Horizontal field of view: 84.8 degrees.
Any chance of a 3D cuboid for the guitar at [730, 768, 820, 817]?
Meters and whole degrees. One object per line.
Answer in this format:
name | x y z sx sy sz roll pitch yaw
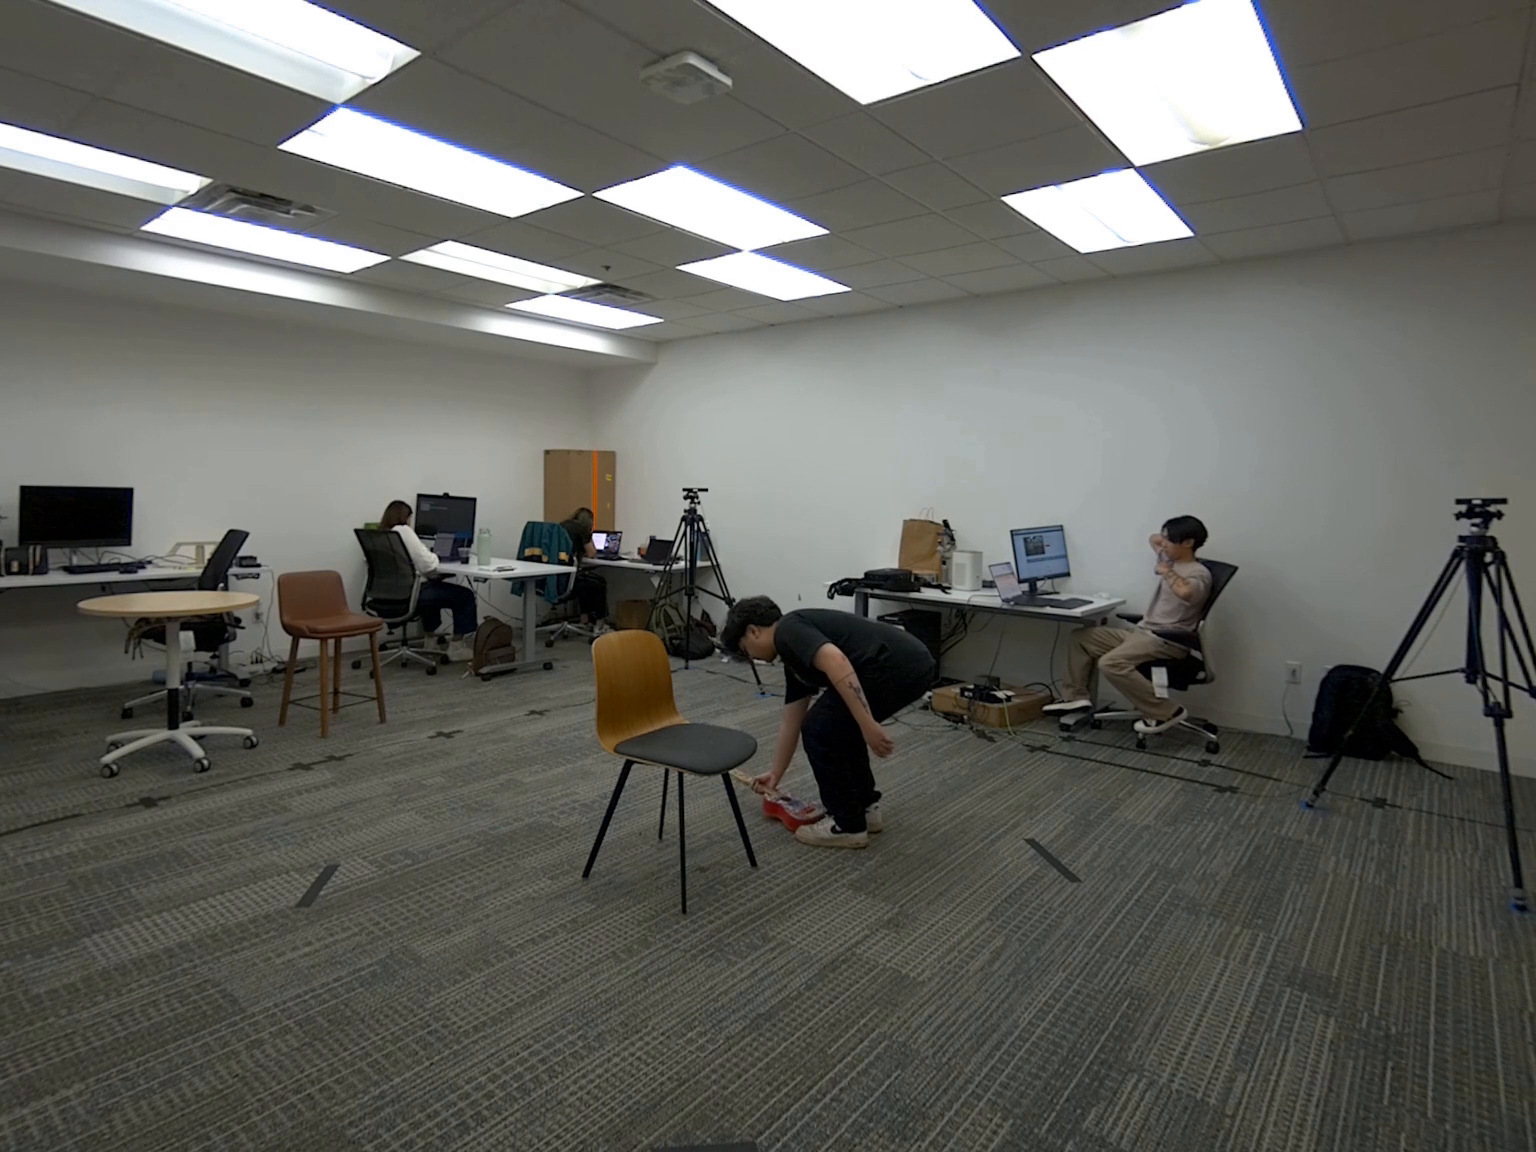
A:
guitar | 0.039 0.947 3.682 0.187 0.070 0.517 0 13 -38
